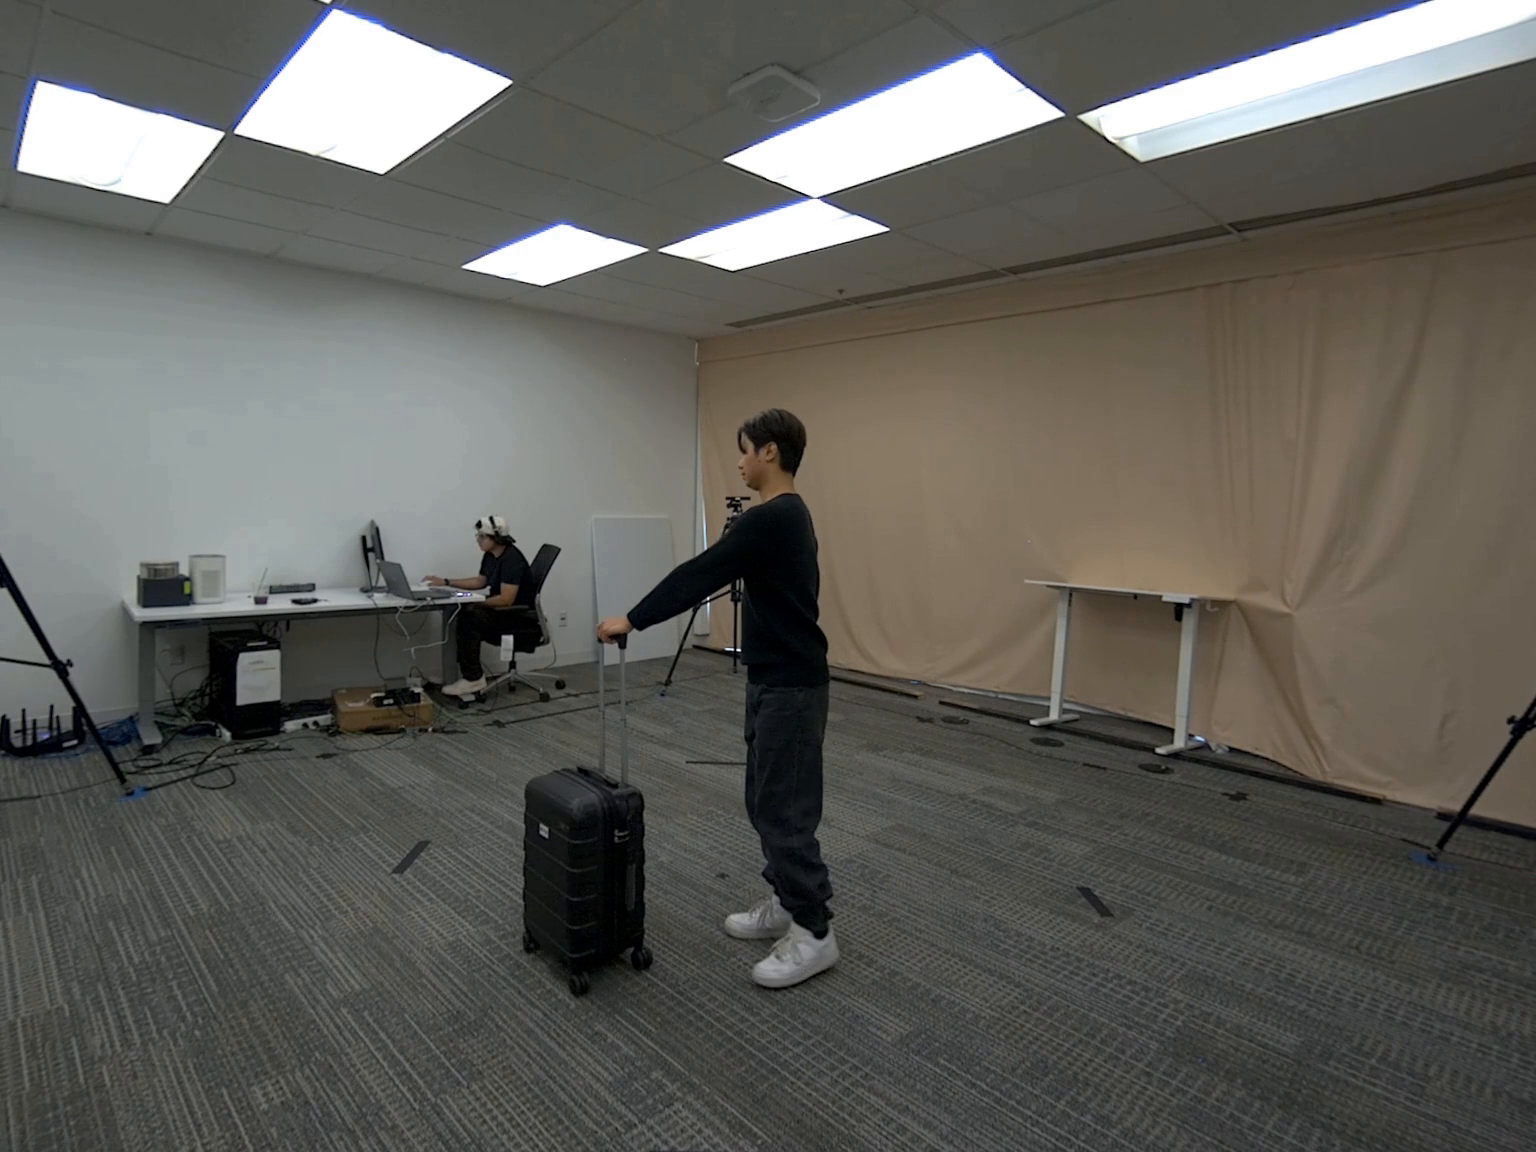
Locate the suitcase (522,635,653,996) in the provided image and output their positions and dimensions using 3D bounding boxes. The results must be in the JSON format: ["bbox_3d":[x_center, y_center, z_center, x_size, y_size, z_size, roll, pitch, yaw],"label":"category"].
[{"bbox_3d":[-0.560,0.673,2.512,0.251,0.976,0.393,-5,5,-42],"label":"suitcase"}]
